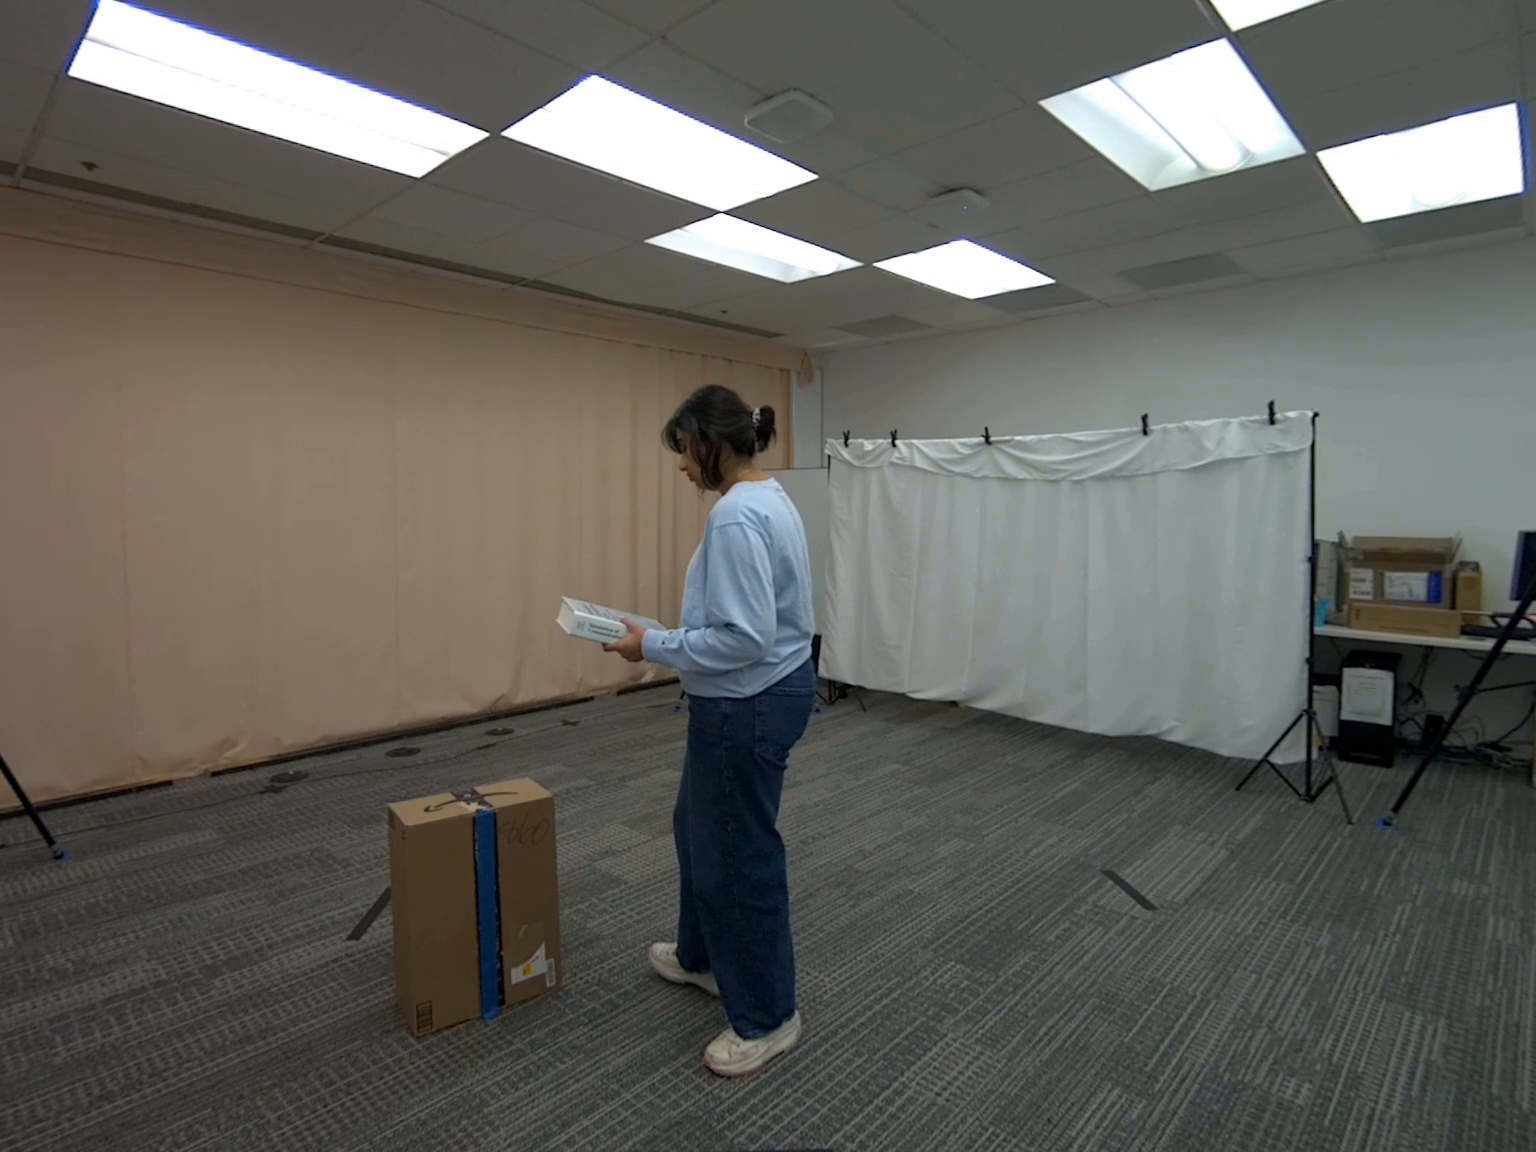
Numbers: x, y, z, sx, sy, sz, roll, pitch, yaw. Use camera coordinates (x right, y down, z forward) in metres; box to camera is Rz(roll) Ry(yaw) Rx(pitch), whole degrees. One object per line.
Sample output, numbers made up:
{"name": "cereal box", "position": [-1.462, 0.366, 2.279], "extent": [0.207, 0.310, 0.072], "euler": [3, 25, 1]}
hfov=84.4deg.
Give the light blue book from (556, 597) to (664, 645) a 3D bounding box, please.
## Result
{"name": "light blue book", "position": [-0.387, 0.134, 2.099], "extent": [0.255, 0.059, 0.196], "euler": [17, 2, -20]}
